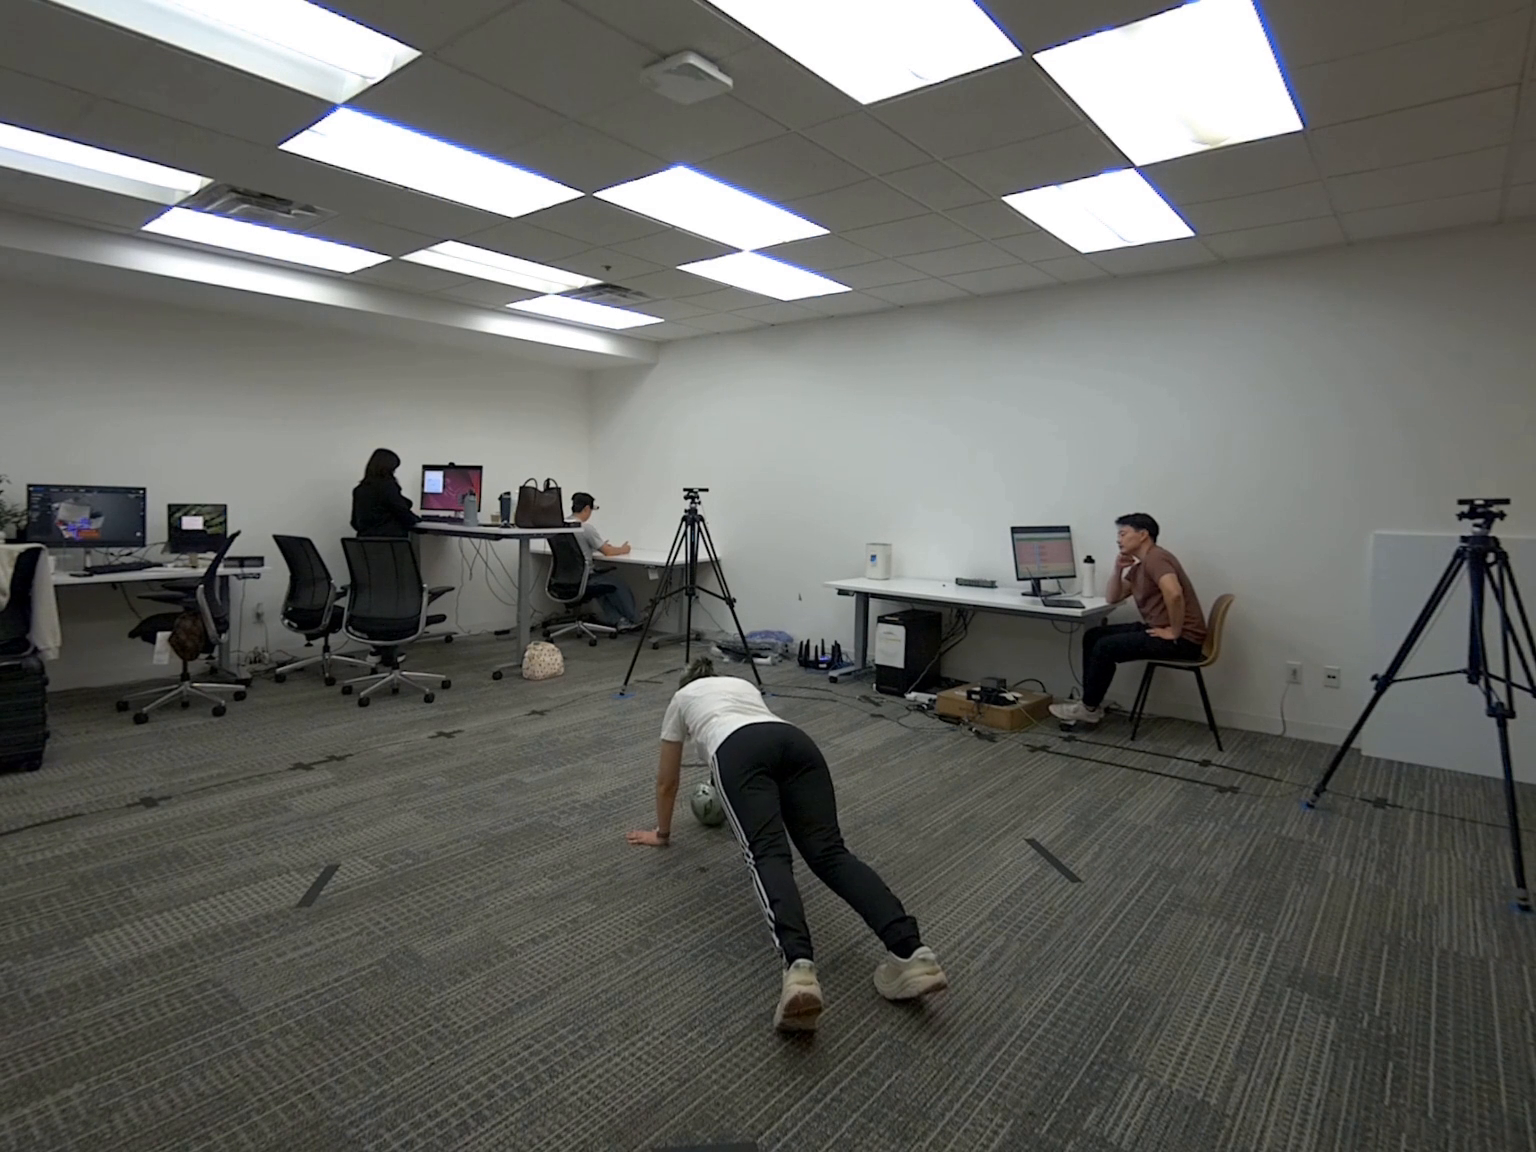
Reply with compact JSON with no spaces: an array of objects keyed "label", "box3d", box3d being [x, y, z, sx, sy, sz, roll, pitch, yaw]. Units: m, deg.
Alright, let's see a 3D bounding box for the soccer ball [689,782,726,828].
[{"label":"soccer ball","box3d":[-0.239,0.933,3.533,0.187,0.187,0.188,1,4,-2]}]
